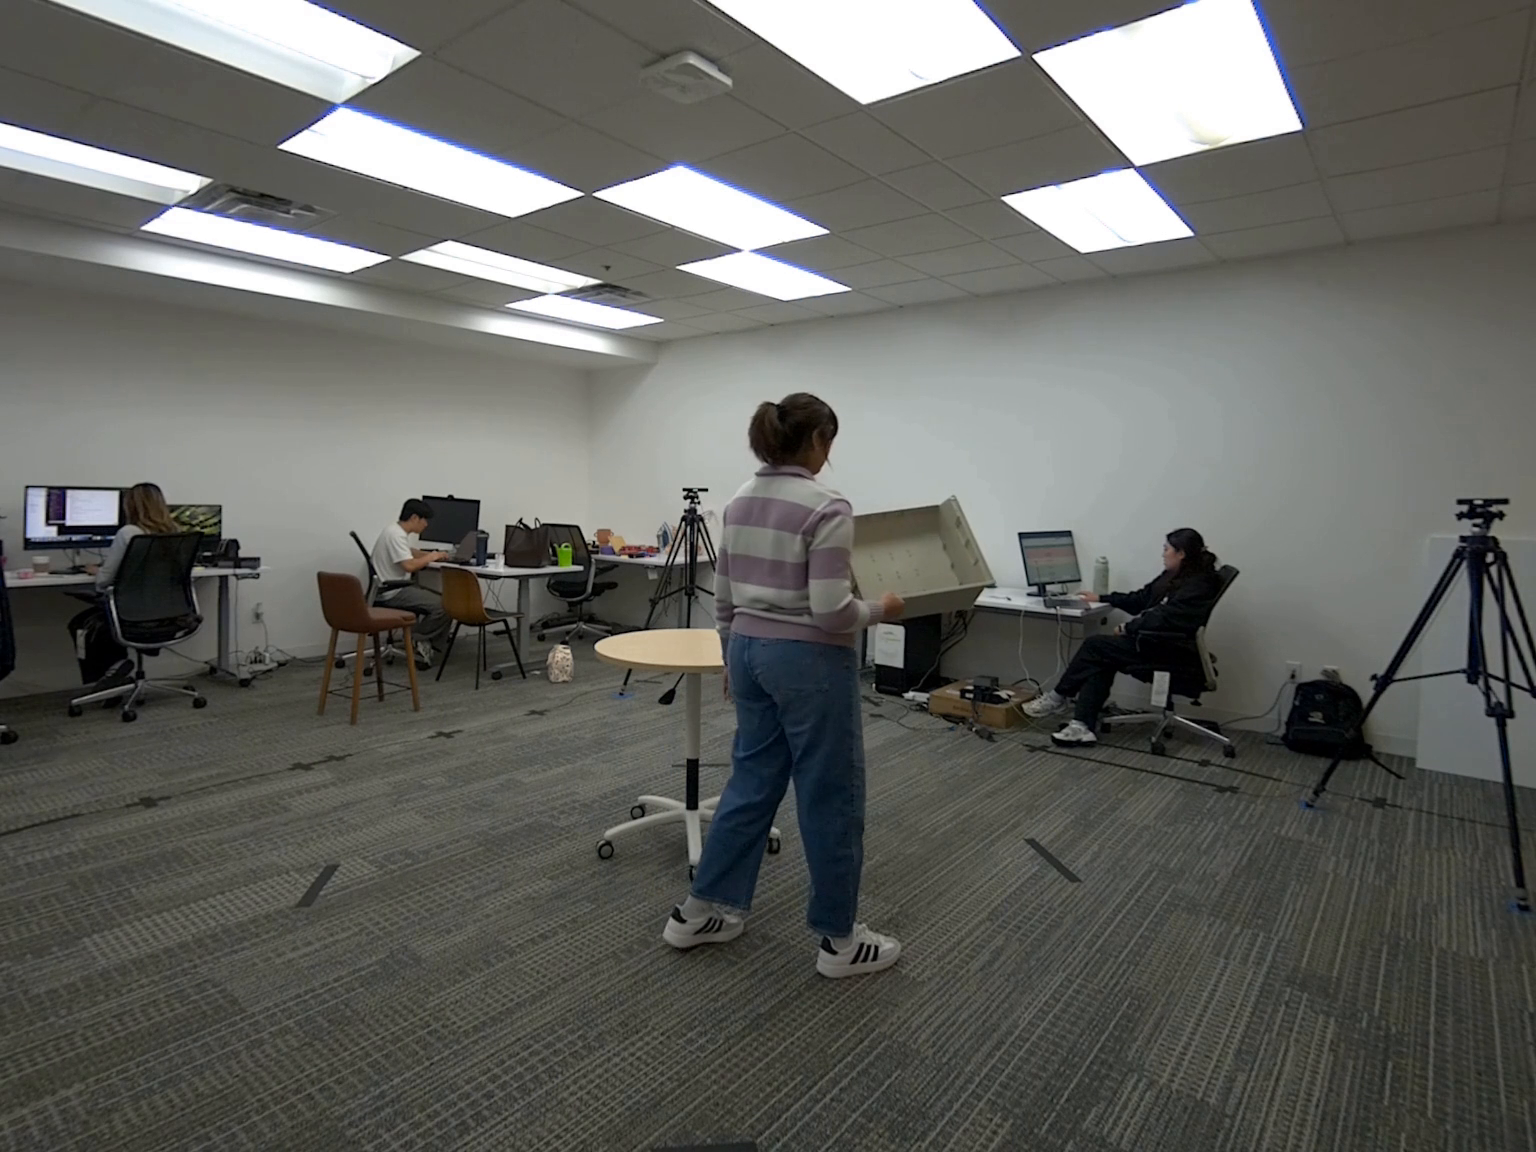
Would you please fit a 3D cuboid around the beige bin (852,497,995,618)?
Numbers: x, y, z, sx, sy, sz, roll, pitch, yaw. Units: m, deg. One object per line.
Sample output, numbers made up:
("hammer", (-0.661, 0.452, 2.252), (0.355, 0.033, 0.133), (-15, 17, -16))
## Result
("beige bin", (0.414, -0.064, 2.710), (0.418, 0.389, 0.185), (-7, -31, -11))
